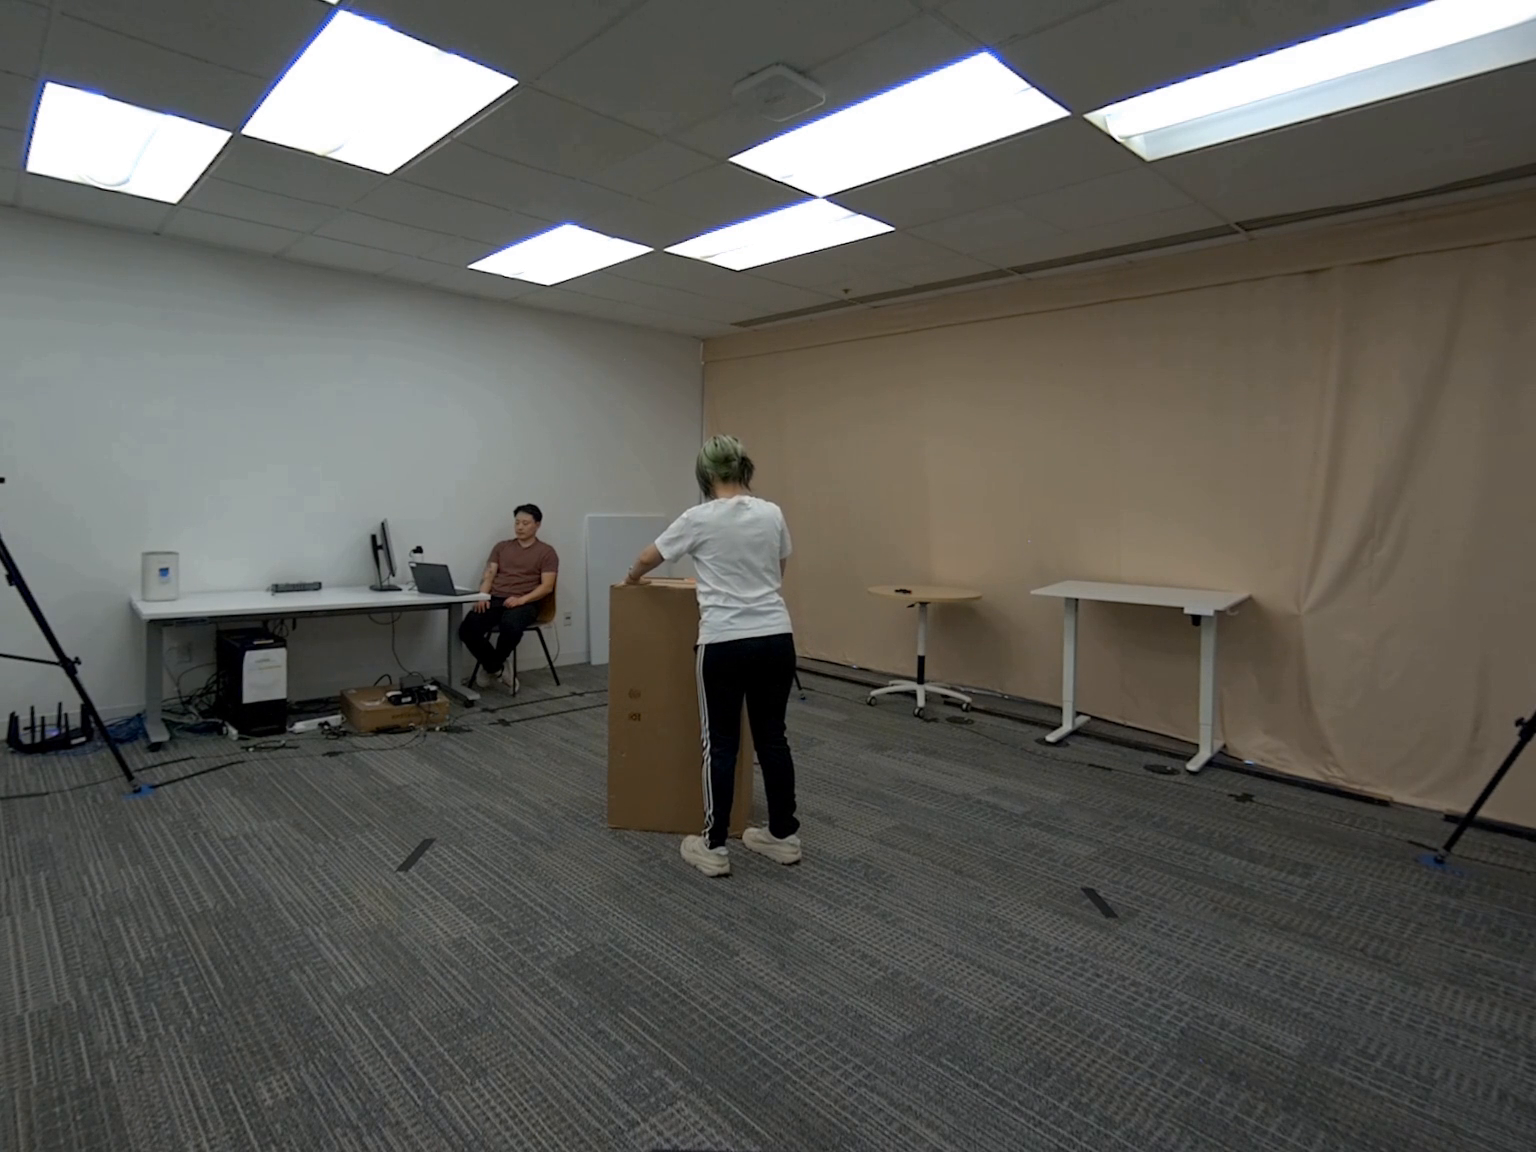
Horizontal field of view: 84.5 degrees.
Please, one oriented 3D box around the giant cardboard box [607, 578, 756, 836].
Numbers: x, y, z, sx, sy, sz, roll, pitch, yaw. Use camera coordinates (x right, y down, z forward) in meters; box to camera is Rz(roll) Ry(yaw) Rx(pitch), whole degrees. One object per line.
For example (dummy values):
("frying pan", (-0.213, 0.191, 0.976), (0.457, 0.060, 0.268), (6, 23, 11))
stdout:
("giant cardboard box", (-0.373, 0.543, 3.674), (0.587, 1.024, 0.445), (1, 3, 6))
